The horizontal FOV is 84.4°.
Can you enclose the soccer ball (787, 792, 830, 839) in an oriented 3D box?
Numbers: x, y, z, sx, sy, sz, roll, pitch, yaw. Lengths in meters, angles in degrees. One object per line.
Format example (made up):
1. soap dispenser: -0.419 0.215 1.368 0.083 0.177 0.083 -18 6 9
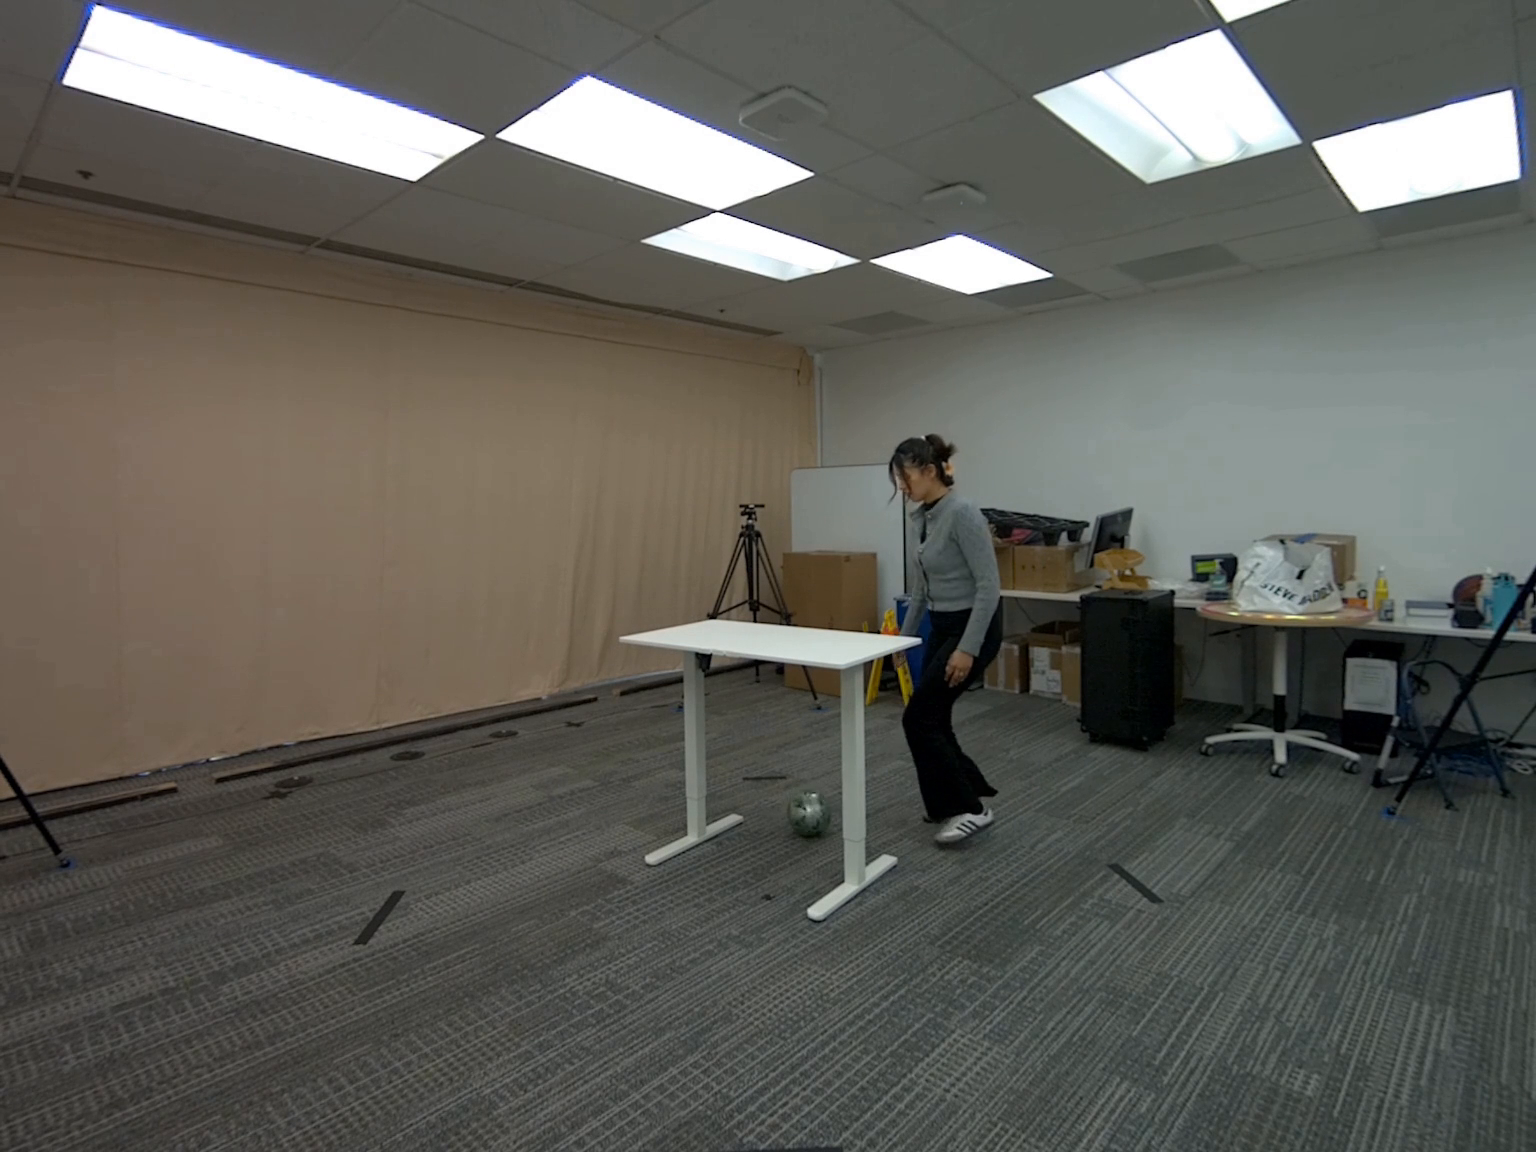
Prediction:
1. soccer ball: 0.175 1.001 3.543 0.187 0.187 0.188 -1 4 -2
